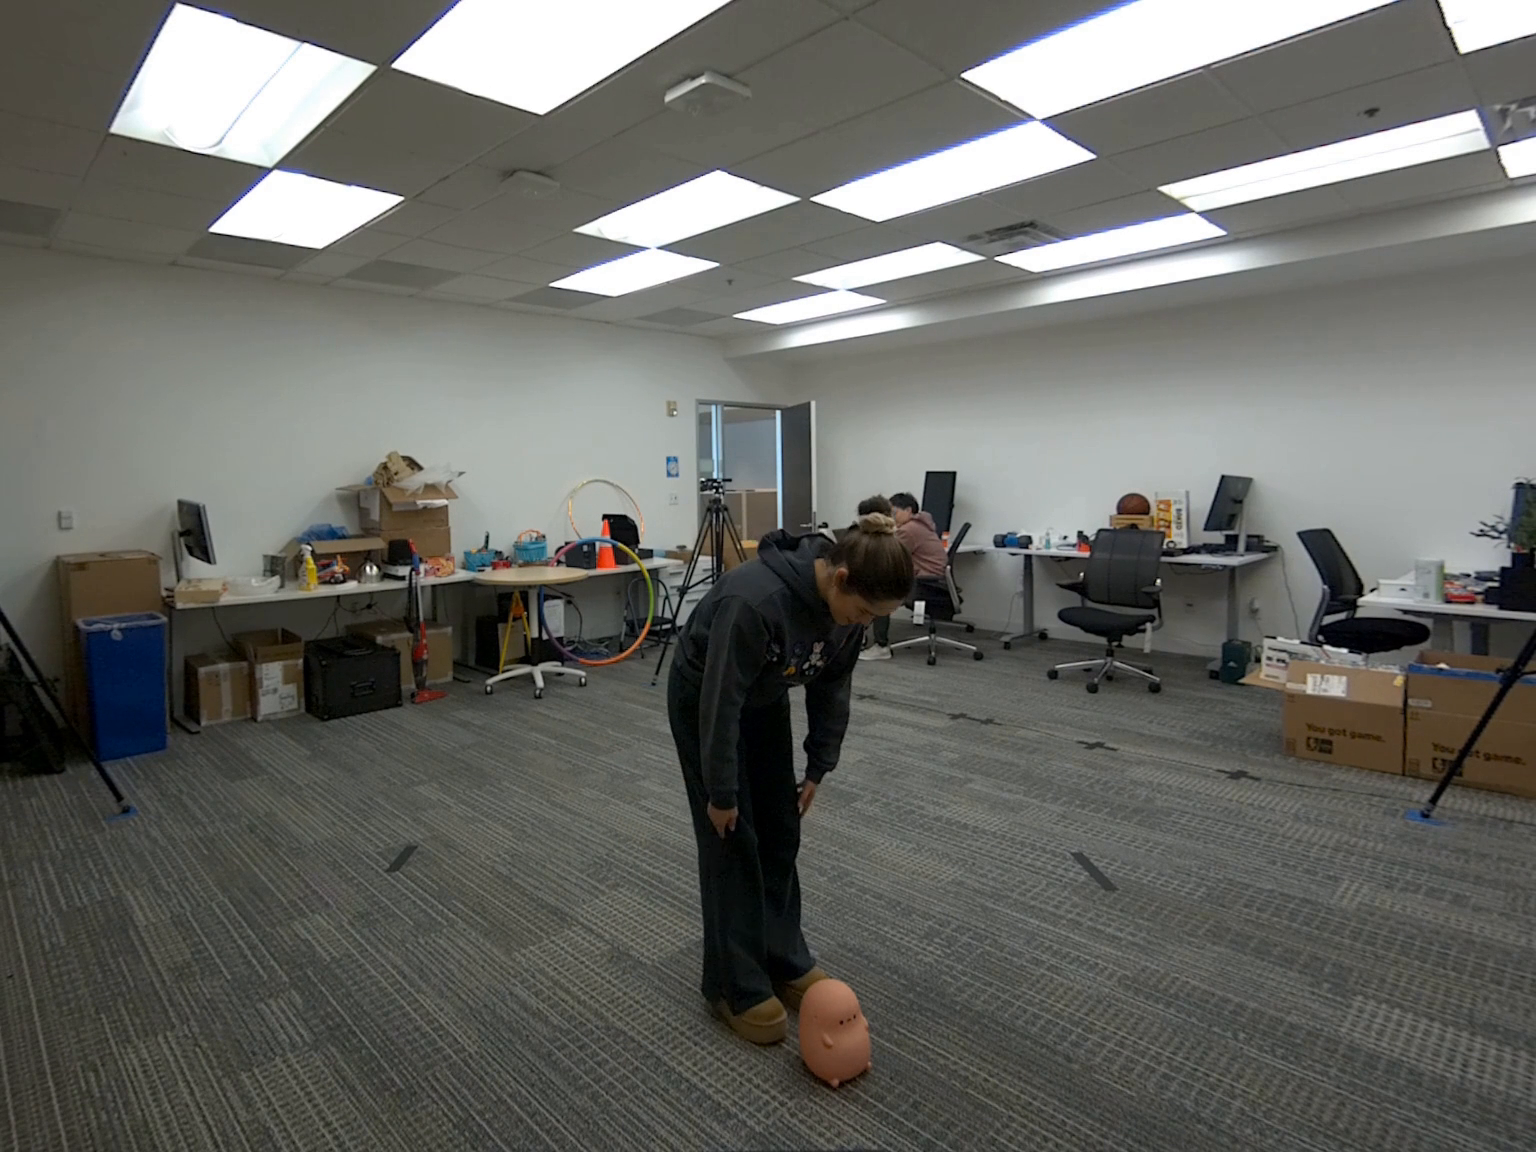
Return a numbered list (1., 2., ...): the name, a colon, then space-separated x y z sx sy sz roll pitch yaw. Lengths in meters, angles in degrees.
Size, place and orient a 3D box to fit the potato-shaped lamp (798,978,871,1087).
1. potato-shaped lamp: 0.163 1.064 2.019 0.161 0.198 0.175 -4 -2 -32
